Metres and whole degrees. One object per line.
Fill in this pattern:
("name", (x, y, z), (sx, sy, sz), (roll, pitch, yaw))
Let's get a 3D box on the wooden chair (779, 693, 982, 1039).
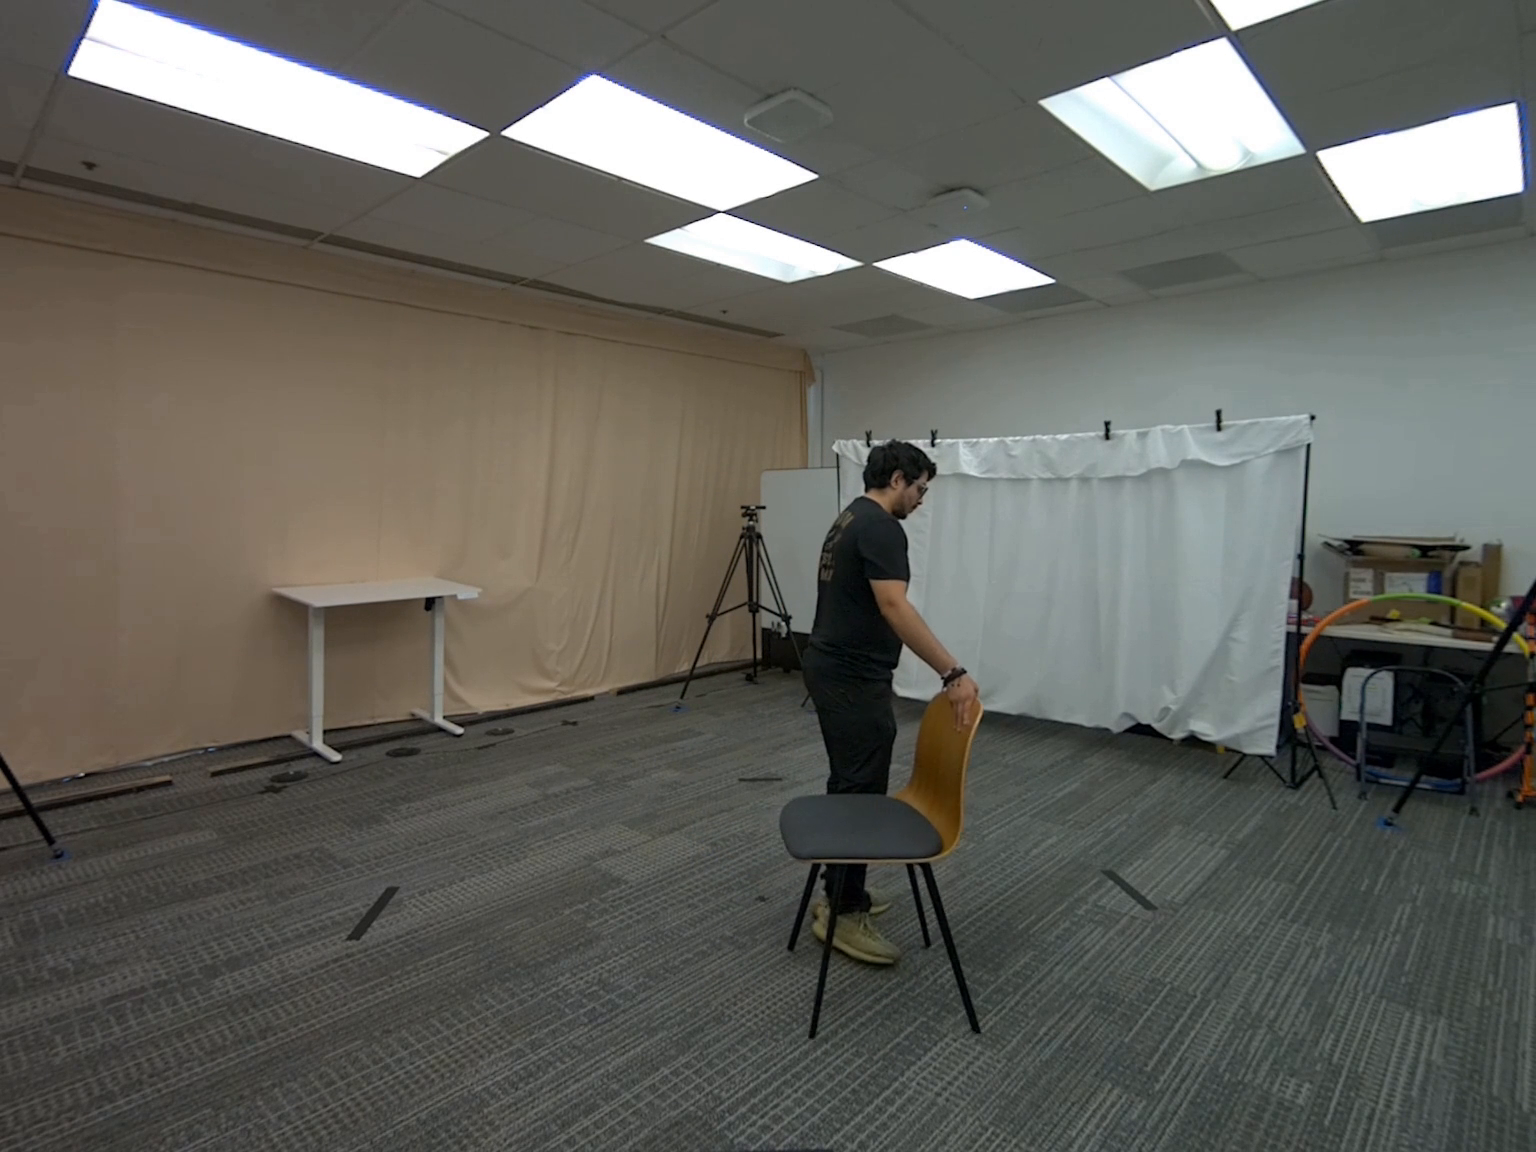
("wooden chair", (0.308, 0.769, 2.391), (0.521, 0.875, 0.481), (4, 4, -5))
